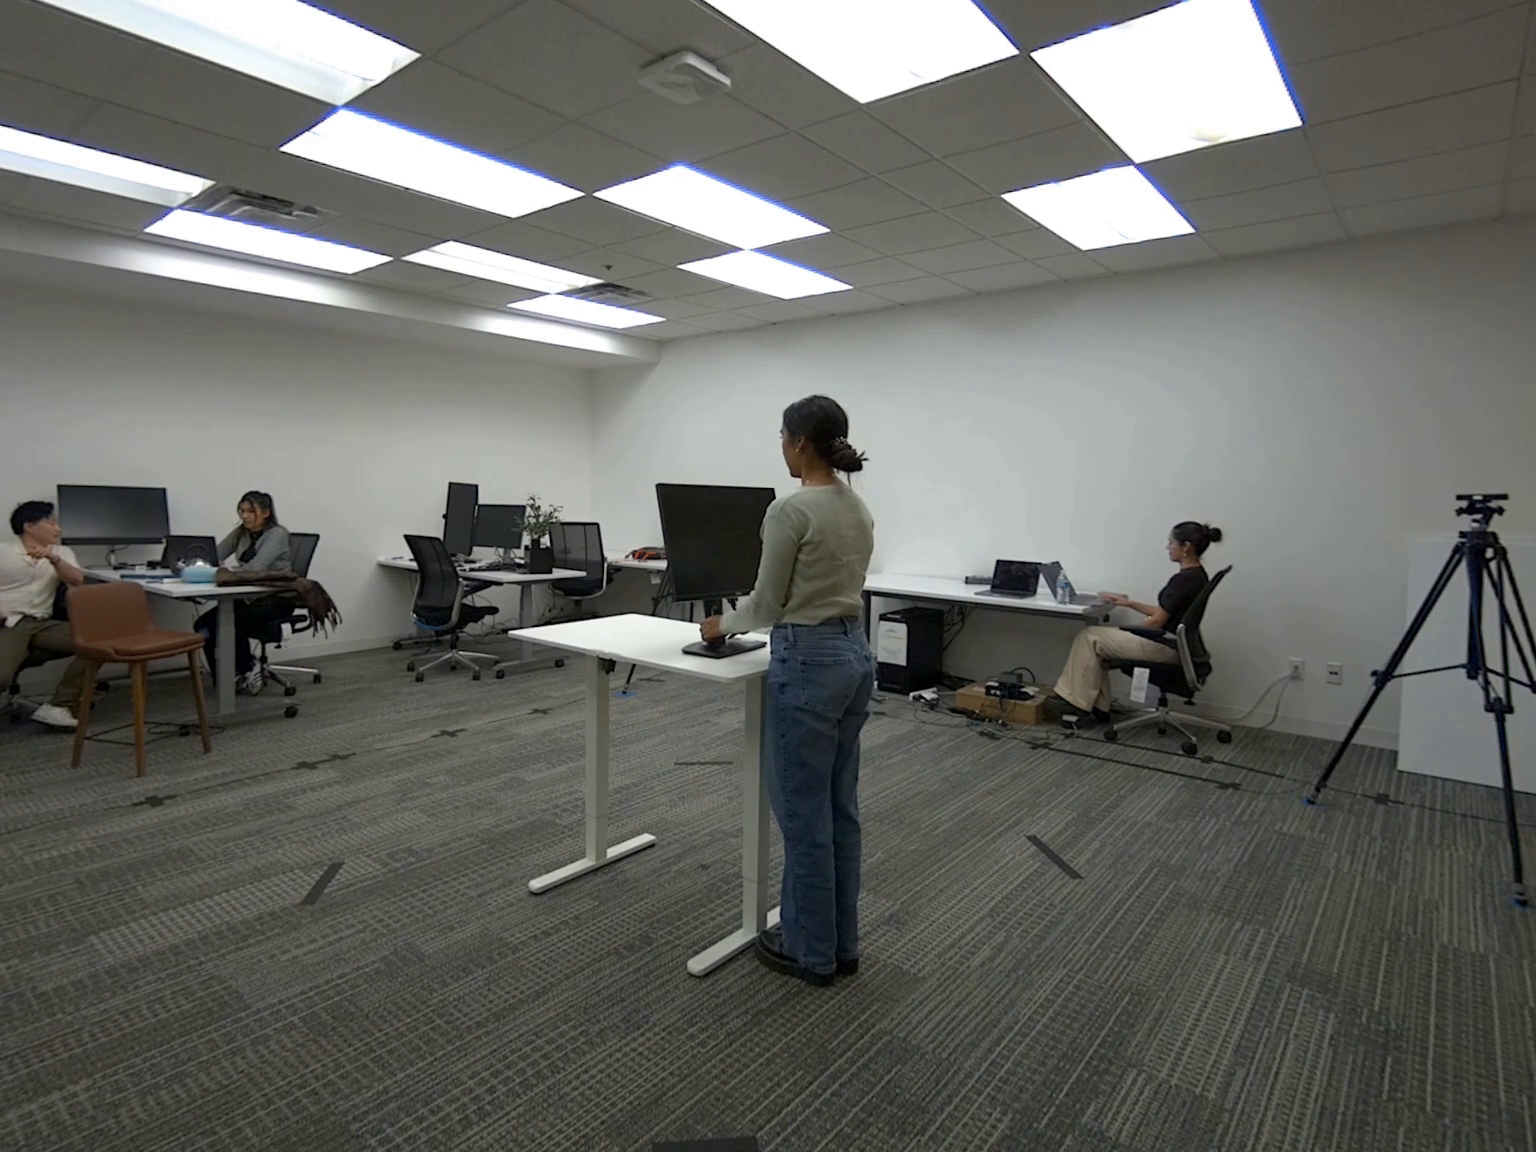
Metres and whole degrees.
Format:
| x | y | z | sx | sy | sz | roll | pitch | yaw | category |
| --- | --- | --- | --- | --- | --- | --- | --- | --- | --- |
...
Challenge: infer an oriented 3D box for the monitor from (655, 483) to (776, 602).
| x | y | z | sx | sy | sz | roll | pitch | yaw | category |
| --- | --- | --- | --- | --- | --- | --- | --- | --- | --- |
| -0.148 | -0.023 | 2.670 | 0.193 | 0.522 | 0.523 | 0 | 2 | 40 | monitor |
